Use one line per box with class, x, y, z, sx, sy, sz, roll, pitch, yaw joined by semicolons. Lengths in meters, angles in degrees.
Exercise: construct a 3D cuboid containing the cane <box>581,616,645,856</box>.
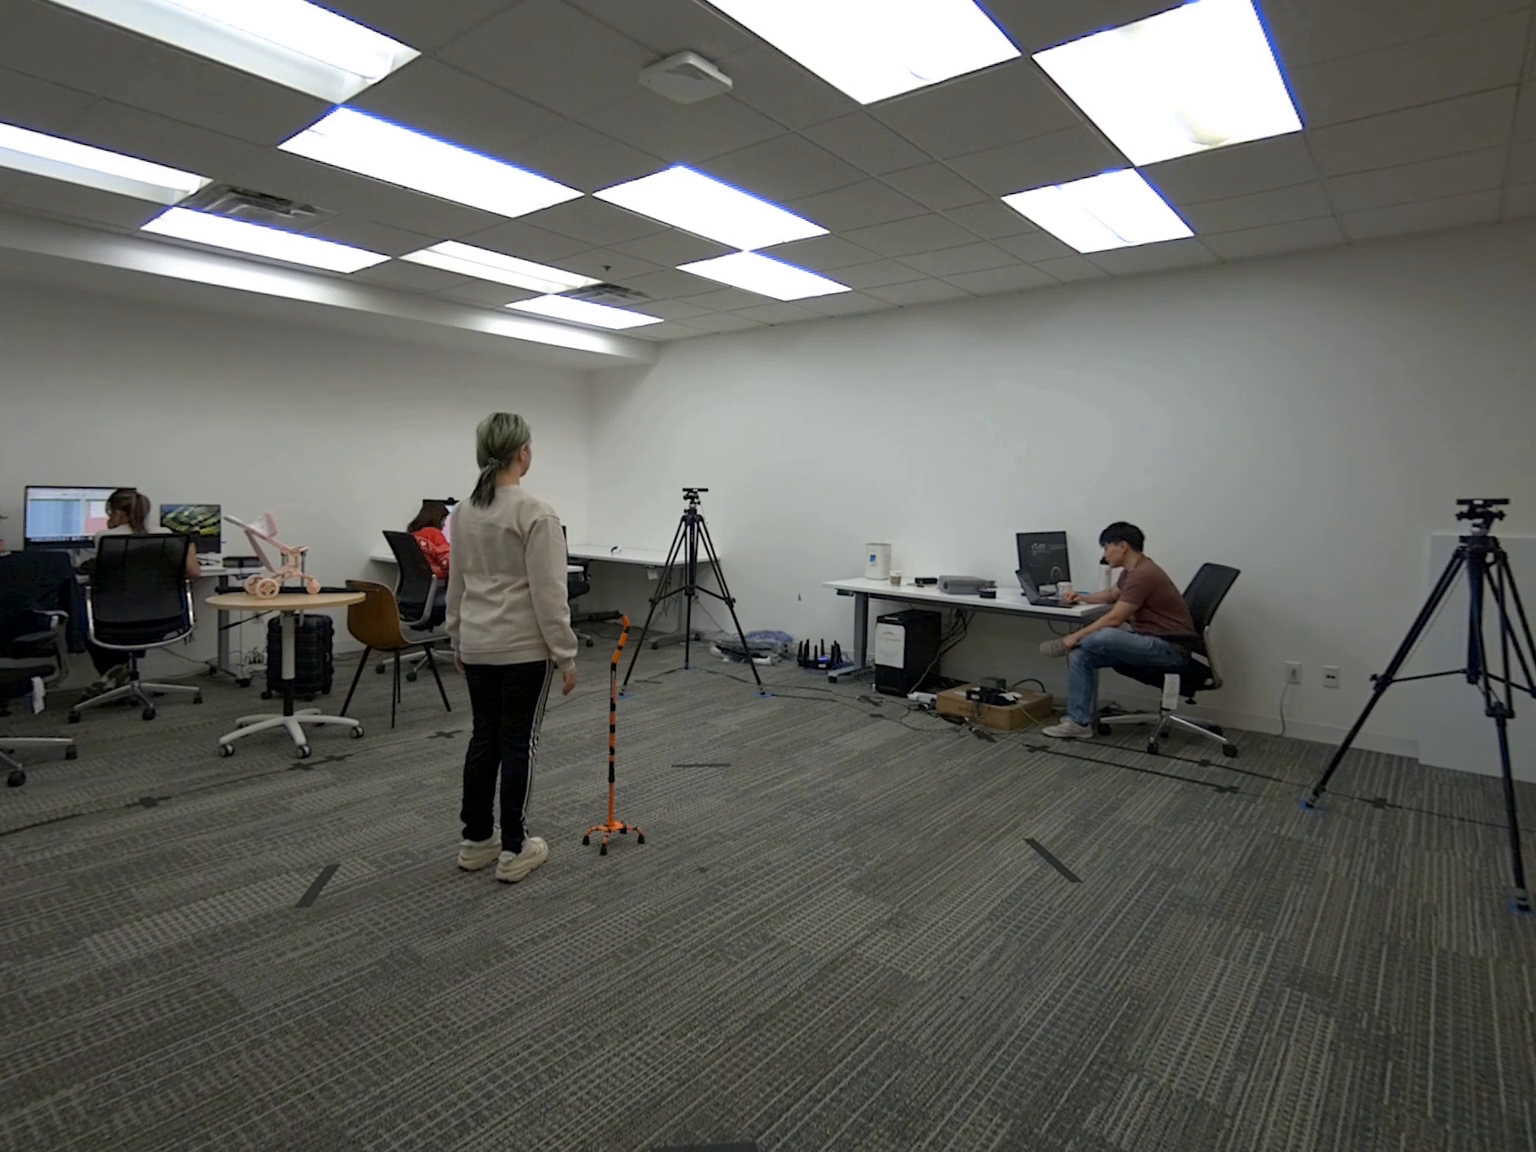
cane;-0.604;0.591;3.312;0.200;0.906;0.157;1;2;-42
